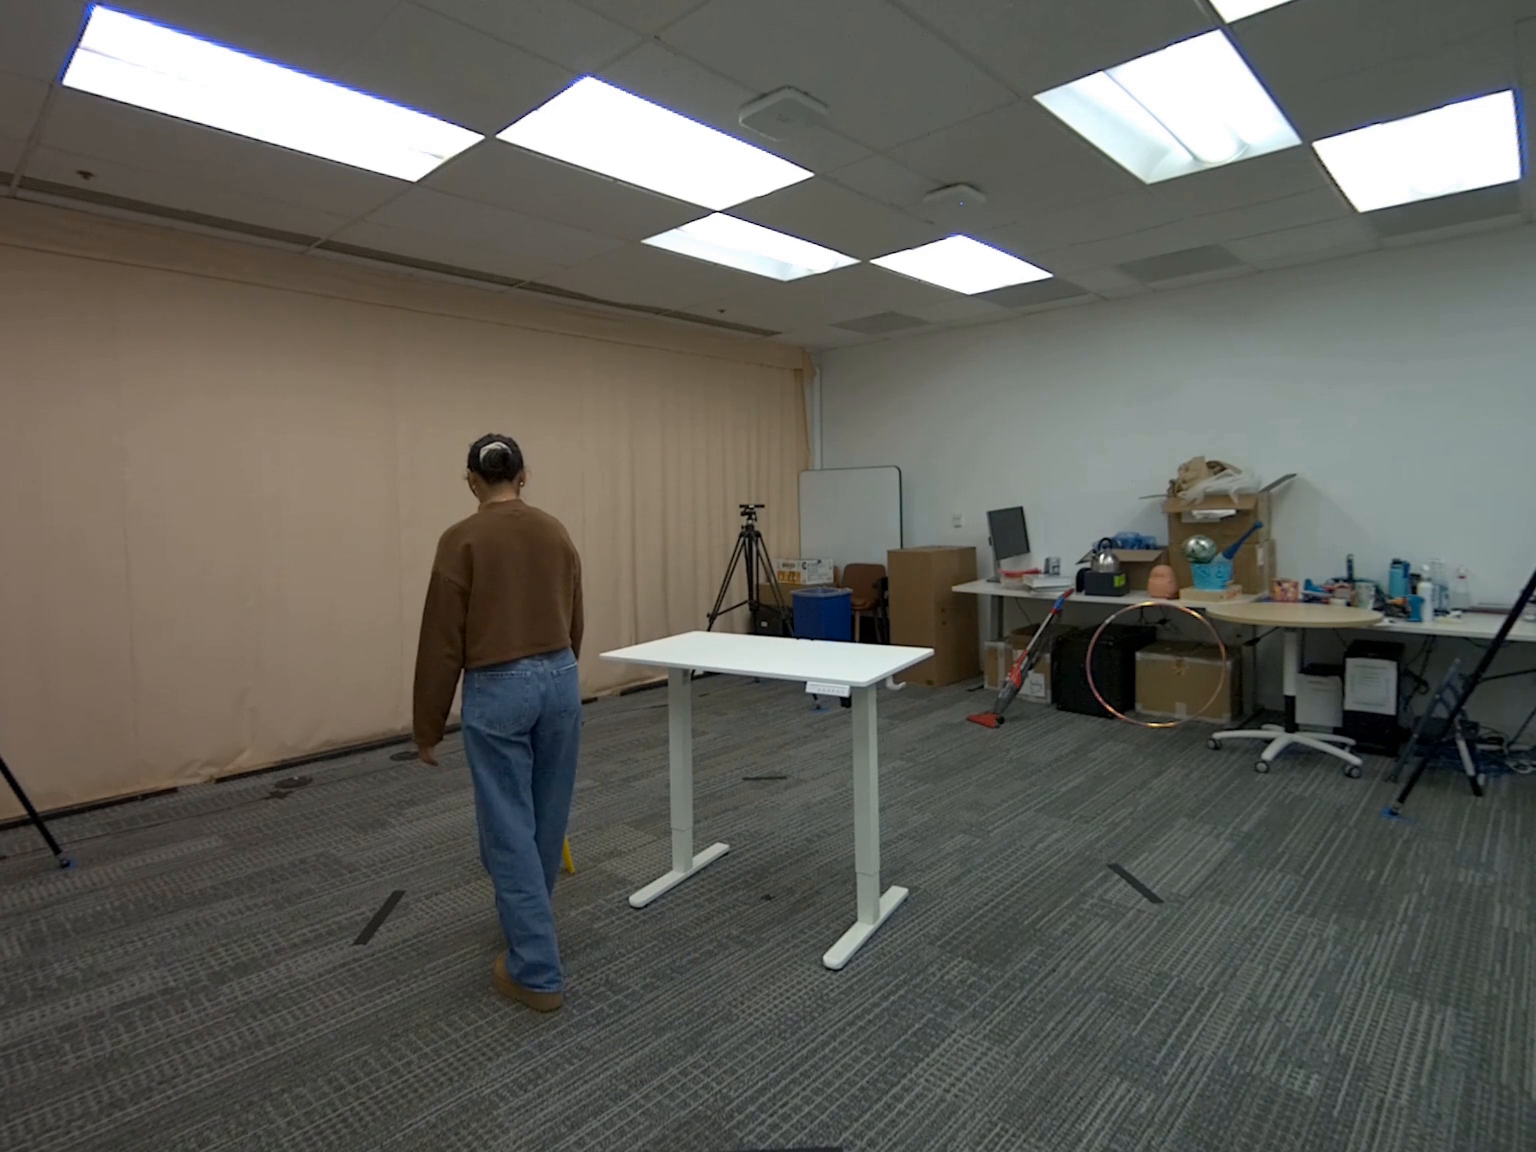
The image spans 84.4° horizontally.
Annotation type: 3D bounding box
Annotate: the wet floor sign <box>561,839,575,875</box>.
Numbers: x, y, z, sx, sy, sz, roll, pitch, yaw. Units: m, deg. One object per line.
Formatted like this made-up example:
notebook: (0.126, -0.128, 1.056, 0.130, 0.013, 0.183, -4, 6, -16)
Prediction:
wet floor sign: (-0.946, 0.819, 3.253, 0.282, 0.645, 0.290, -3, 3, -29)
